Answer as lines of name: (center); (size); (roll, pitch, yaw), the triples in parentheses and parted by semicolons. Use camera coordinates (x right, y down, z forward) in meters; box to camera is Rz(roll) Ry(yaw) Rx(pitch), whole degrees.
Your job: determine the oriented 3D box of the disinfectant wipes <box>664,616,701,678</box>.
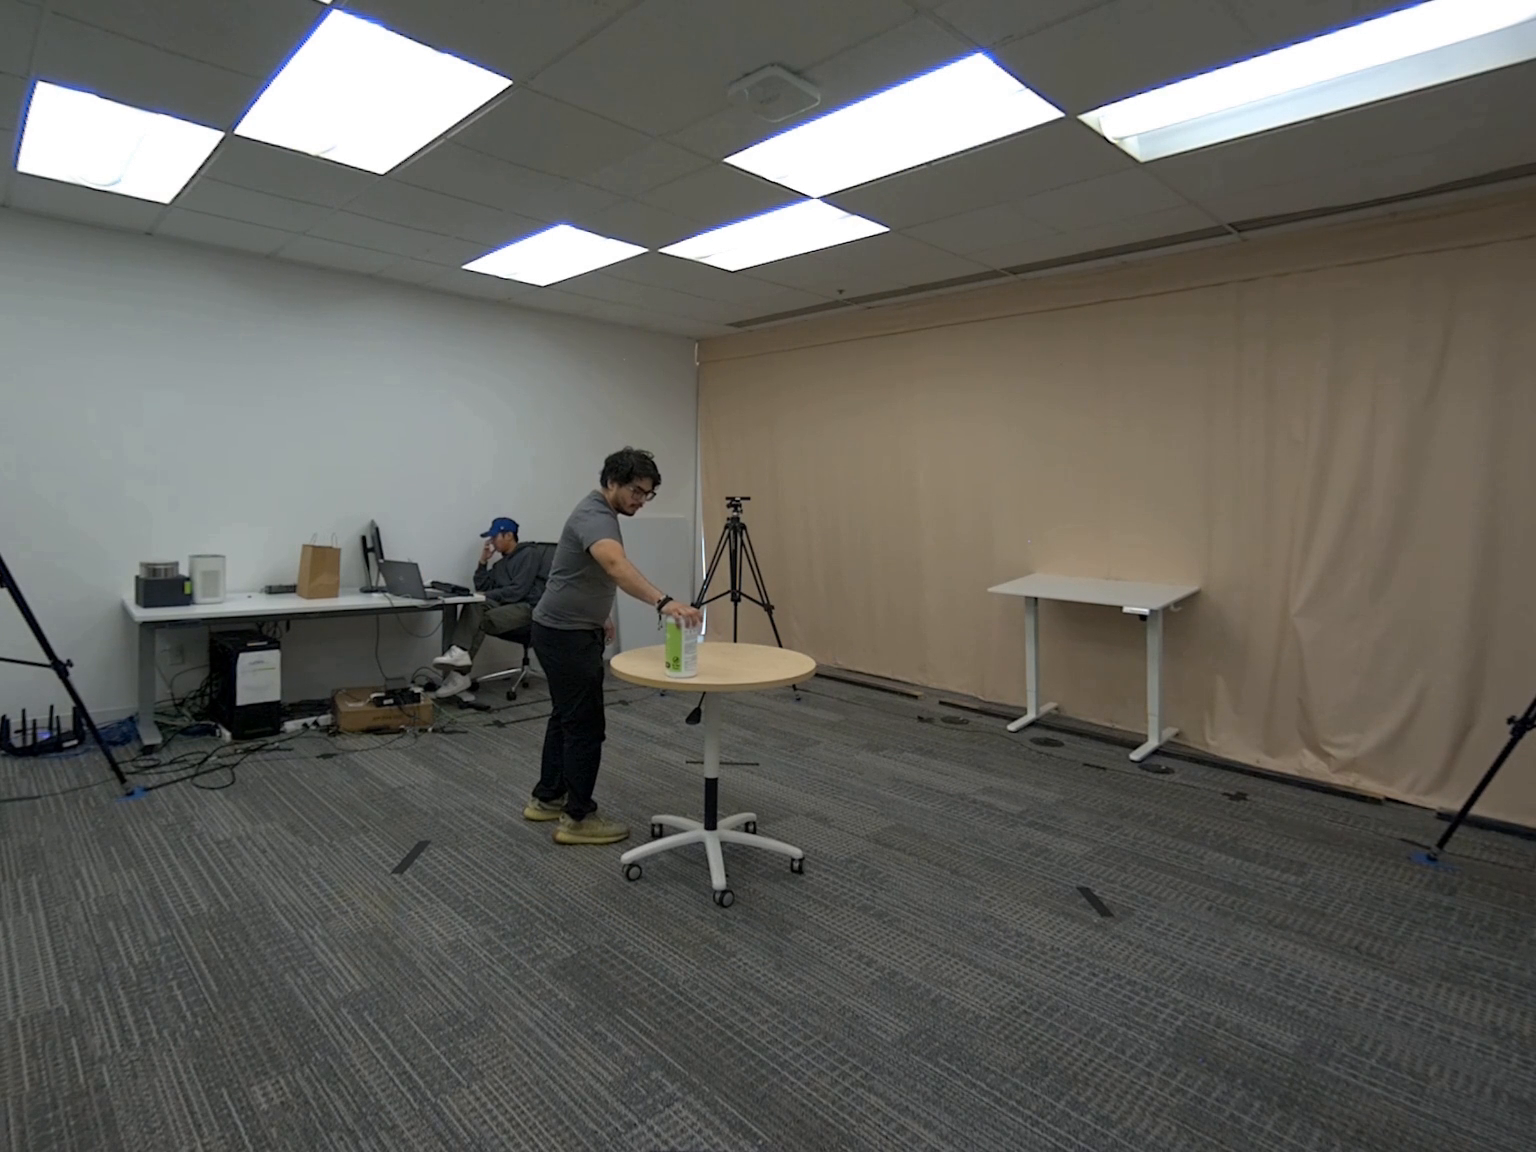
disinfectant wipes: (-0.302, 0.236, 2.894); (0.118, 0.217, 0.118); (-1, 4, -1)
